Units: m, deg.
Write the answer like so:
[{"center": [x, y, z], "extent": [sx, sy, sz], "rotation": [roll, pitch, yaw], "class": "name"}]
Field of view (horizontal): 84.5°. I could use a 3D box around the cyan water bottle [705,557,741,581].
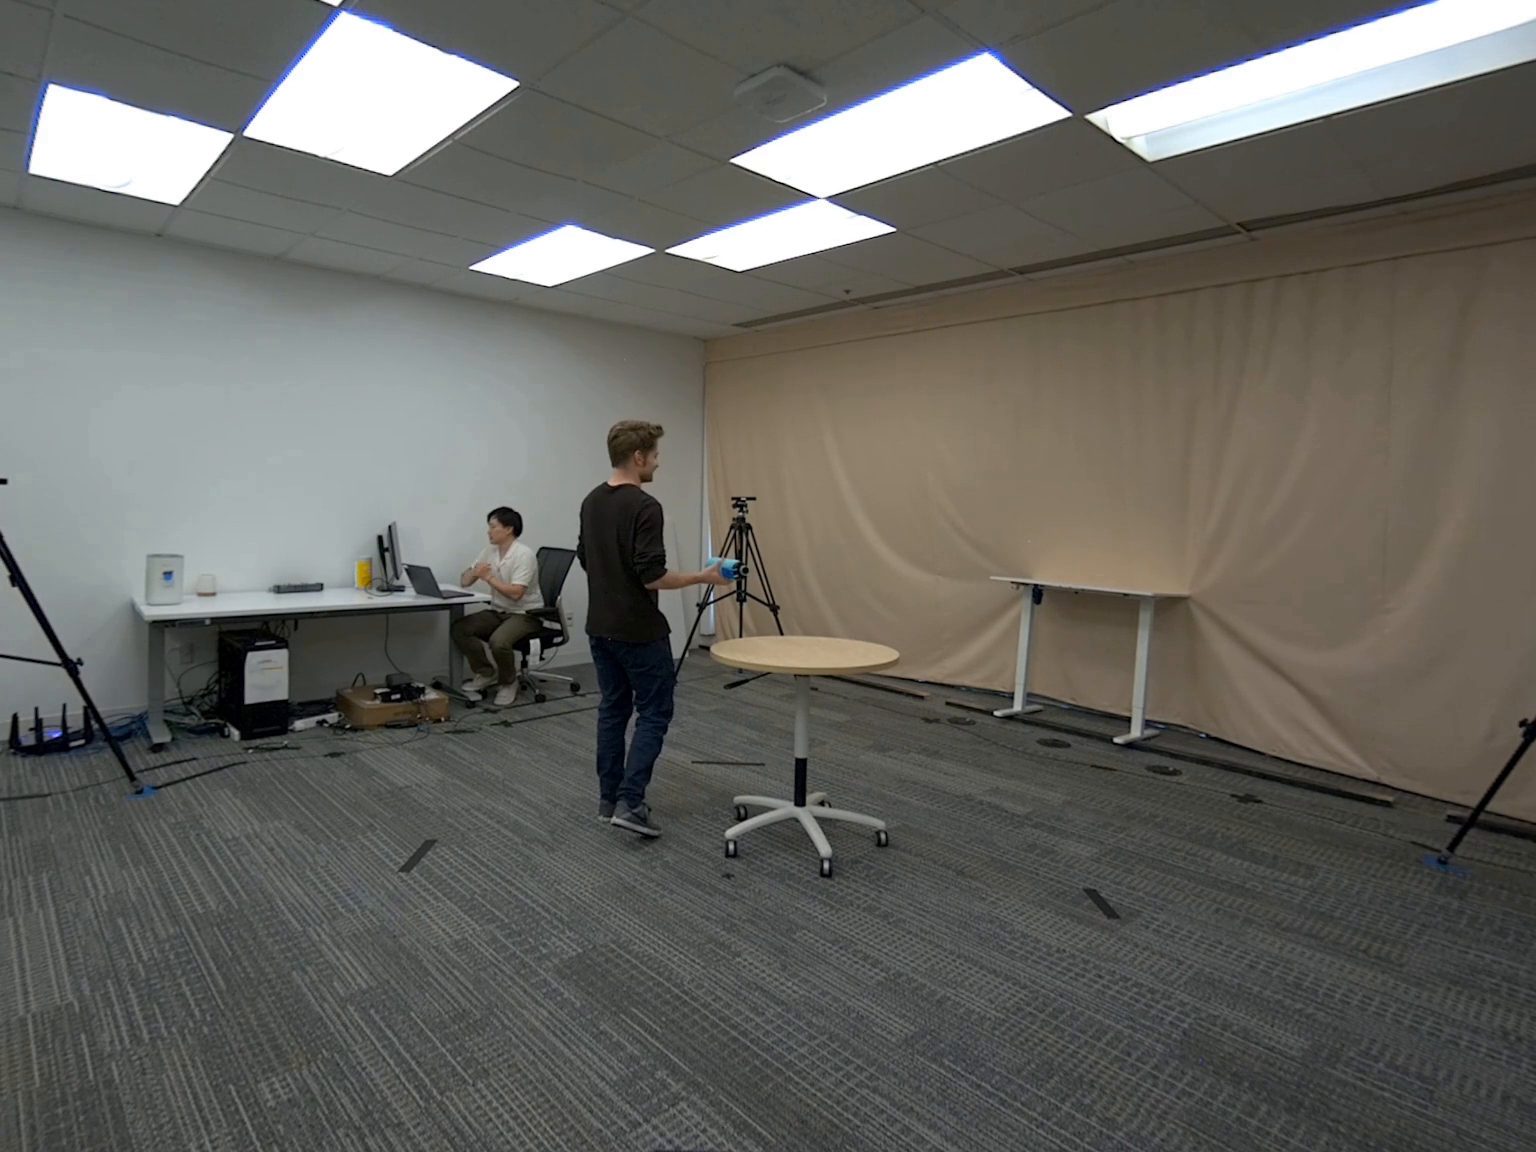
[{"center": [-0.182, -0.030, 3.590], "extent": [0.090, 0.092, 0.290], "rotation": [-1, 5, -28], "class": "cyan water bottle"}]
